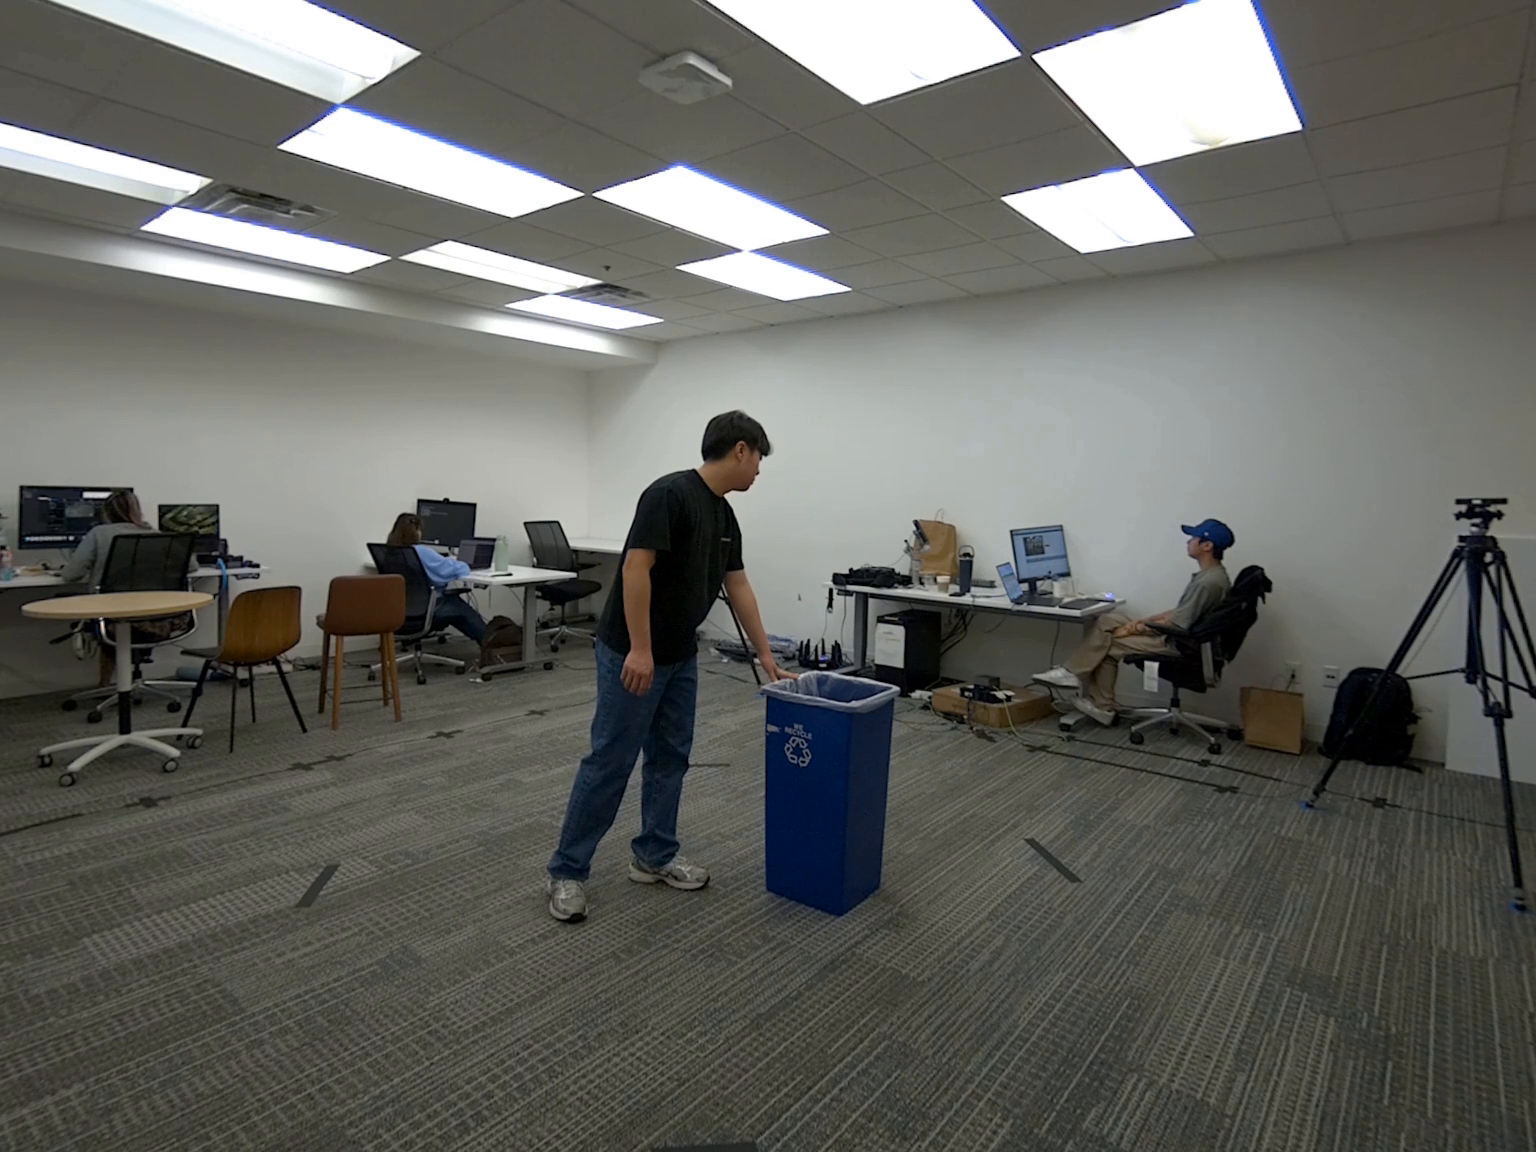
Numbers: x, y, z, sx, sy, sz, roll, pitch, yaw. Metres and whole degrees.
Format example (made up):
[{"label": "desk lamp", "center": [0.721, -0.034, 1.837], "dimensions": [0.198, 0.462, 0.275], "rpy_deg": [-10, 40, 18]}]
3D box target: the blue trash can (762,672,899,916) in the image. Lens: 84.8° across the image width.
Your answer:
[{"label": "blue trash can", "center": [0.209, 0.738, 2.962], "dimensions": [0.386, 0.711, 0.367], "rpy_deg": [4, 4, 34]}]
